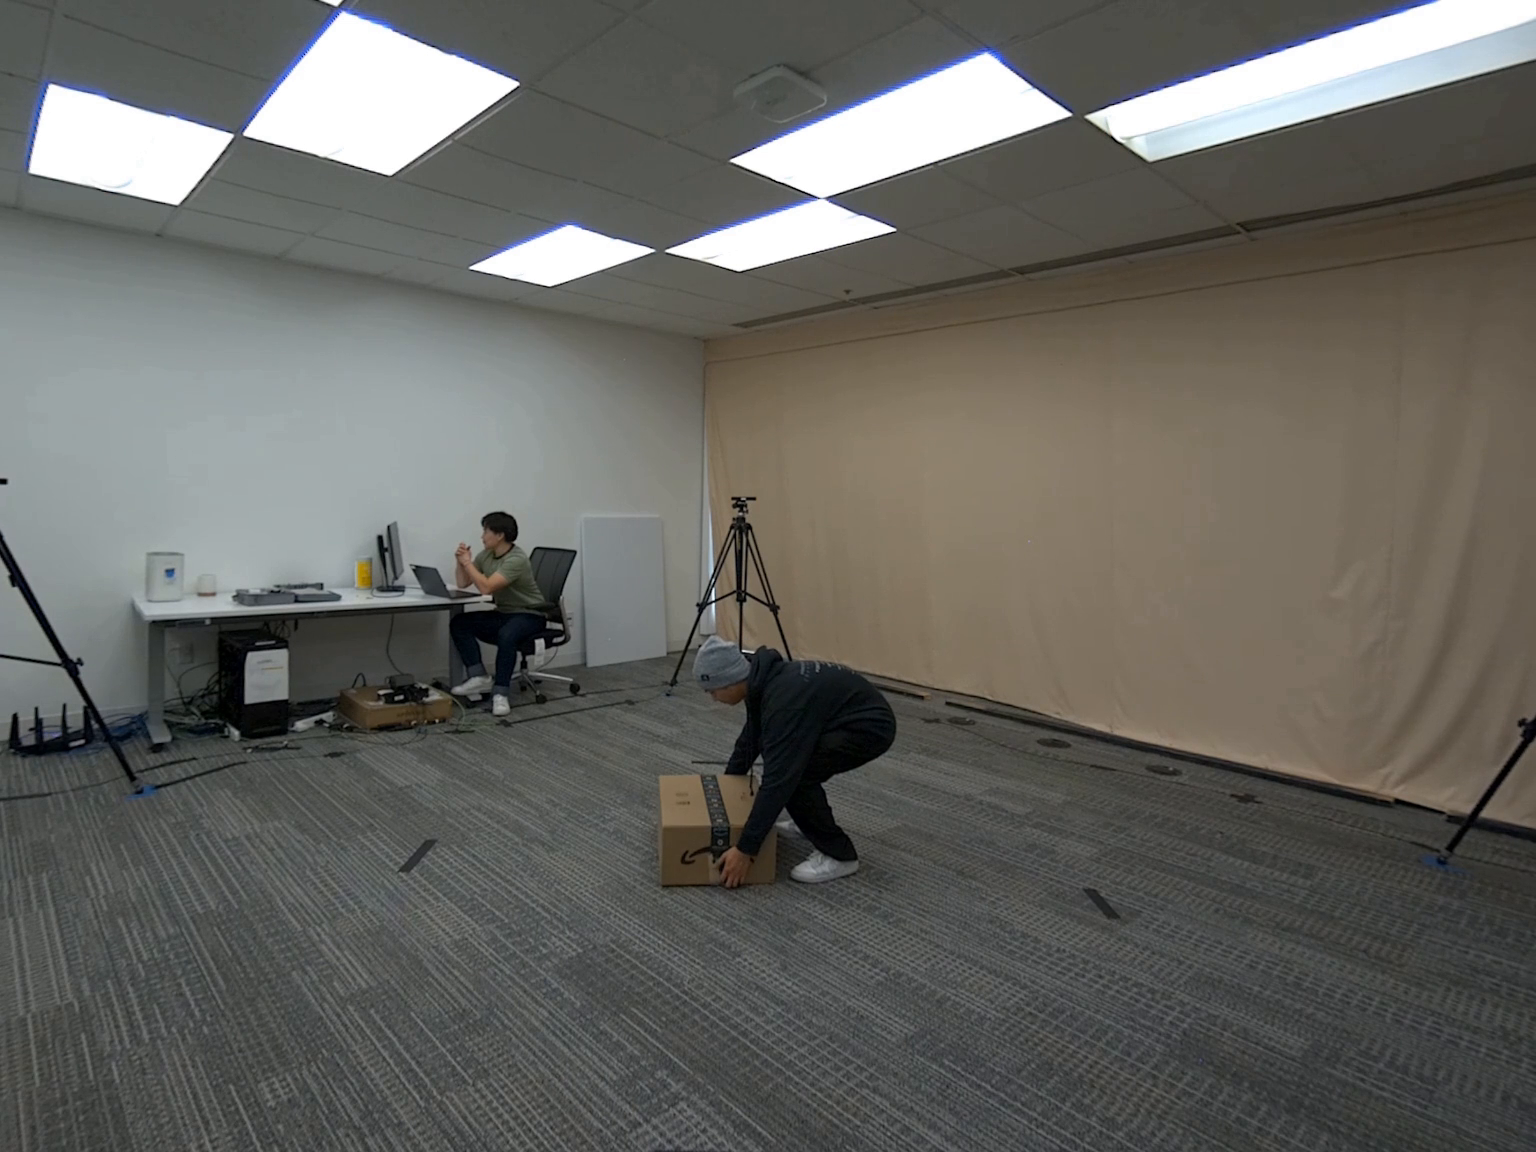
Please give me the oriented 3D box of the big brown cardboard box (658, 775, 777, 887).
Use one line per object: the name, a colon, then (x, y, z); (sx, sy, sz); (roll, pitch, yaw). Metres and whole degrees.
big brown cardboard box: (-0.227, 0.980, 3.294); (0.415, 0.233, 0.594); (1, 4, -8)
